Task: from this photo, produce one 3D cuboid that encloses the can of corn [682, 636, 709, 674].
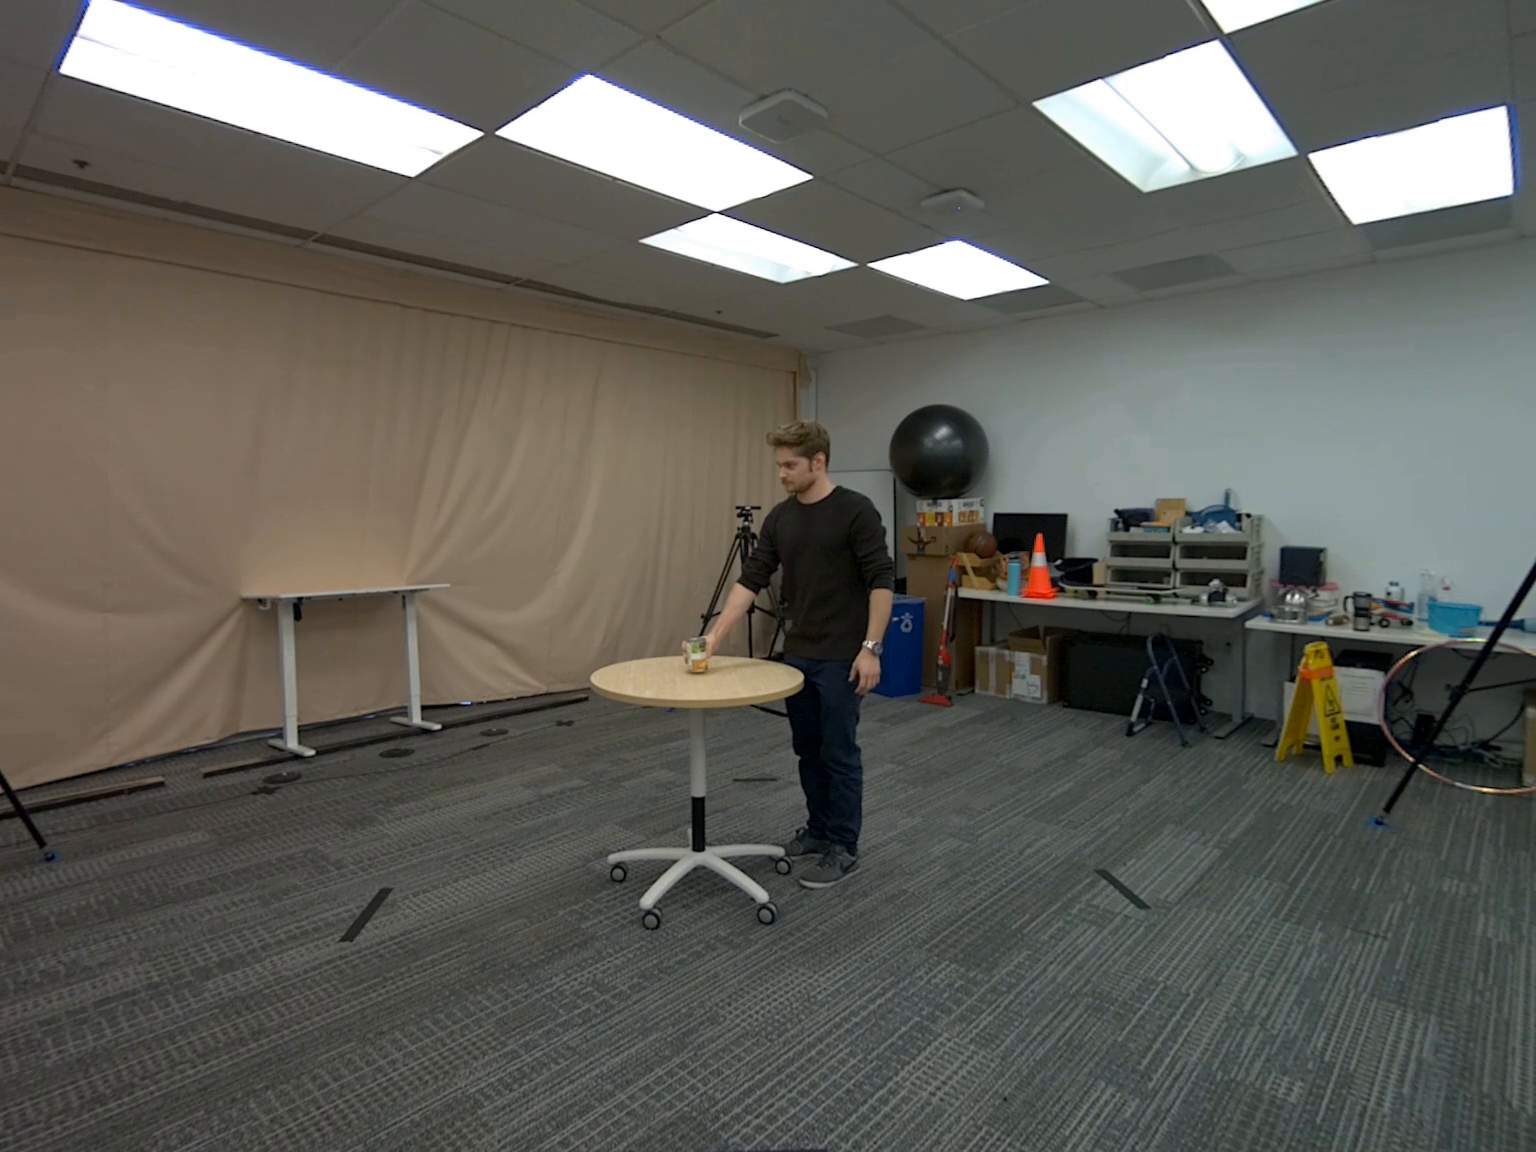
[{"bbox_3d":[-0.255,0.289,3.074,0.074,0.111,0.074,-5,1,-2],"label":"can of corn"}]
